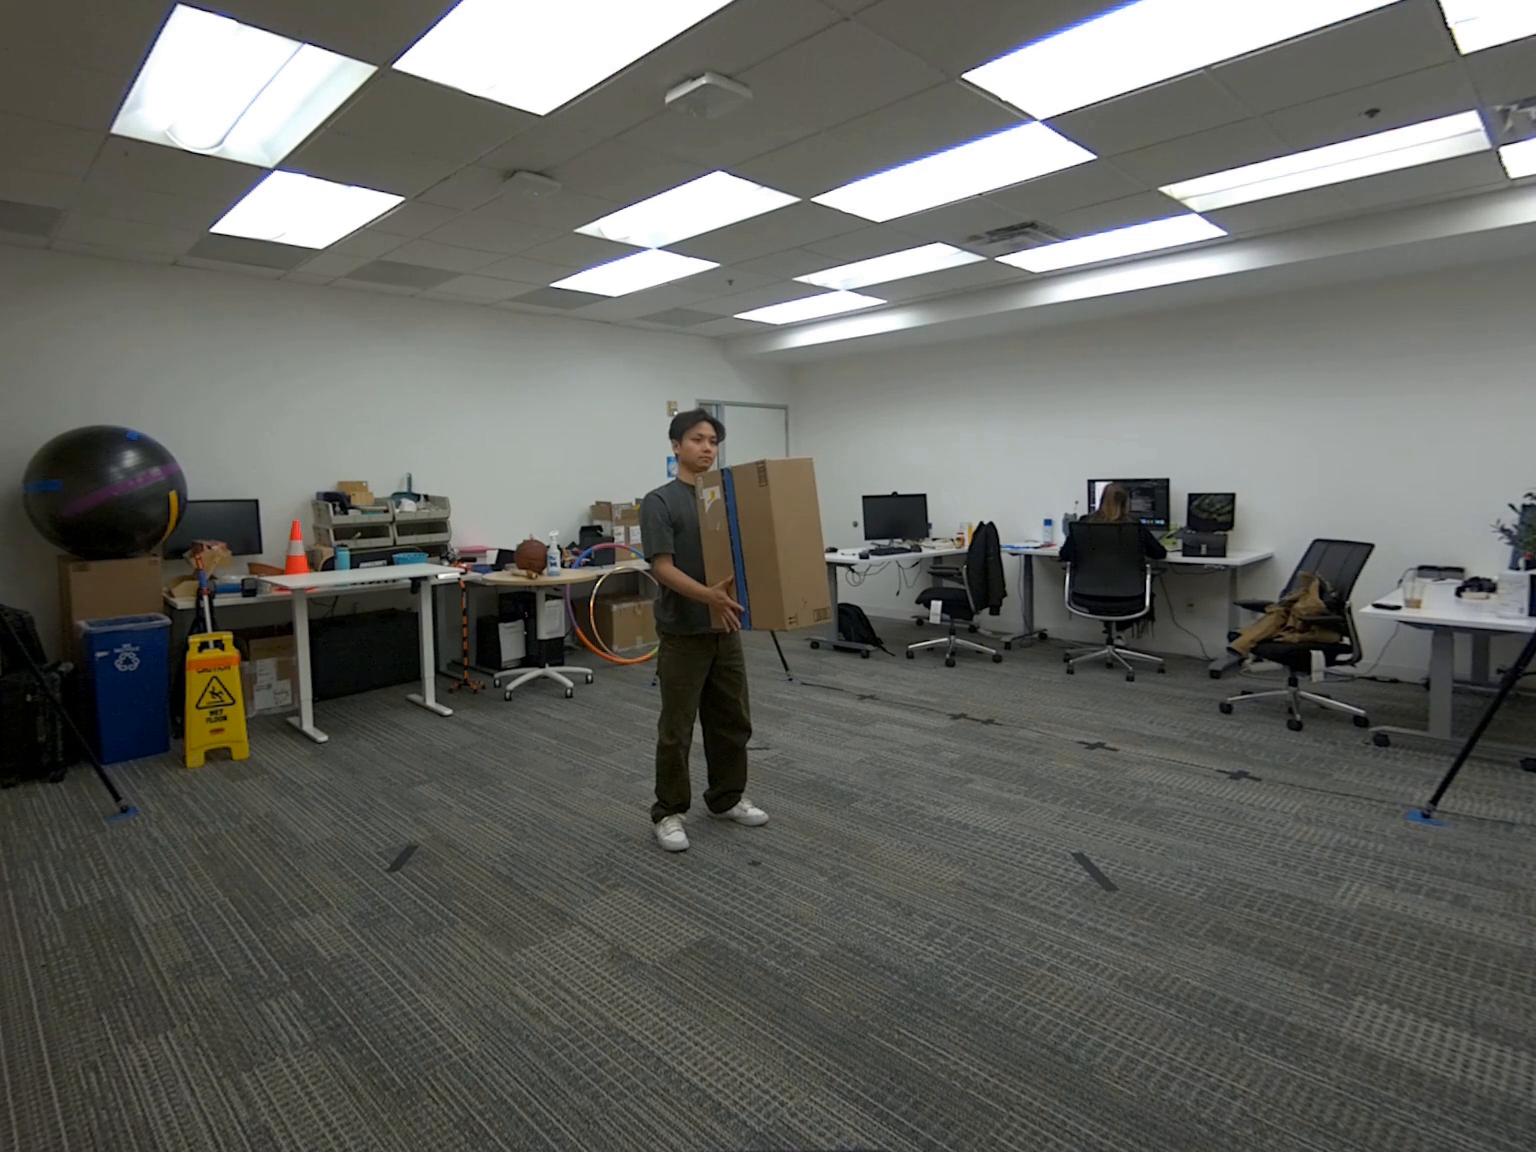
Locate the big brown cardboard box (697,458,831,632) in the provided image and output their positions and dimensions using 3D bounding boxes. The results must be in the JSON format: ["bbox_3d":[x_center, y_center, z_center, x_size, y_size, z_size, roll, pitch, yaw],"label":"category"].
[{"bbox_3d":[-0.022,-0.113,3.005,0.227,0.589,0.428,-8,0,-38],"label":"big brown cardboard box"}]
